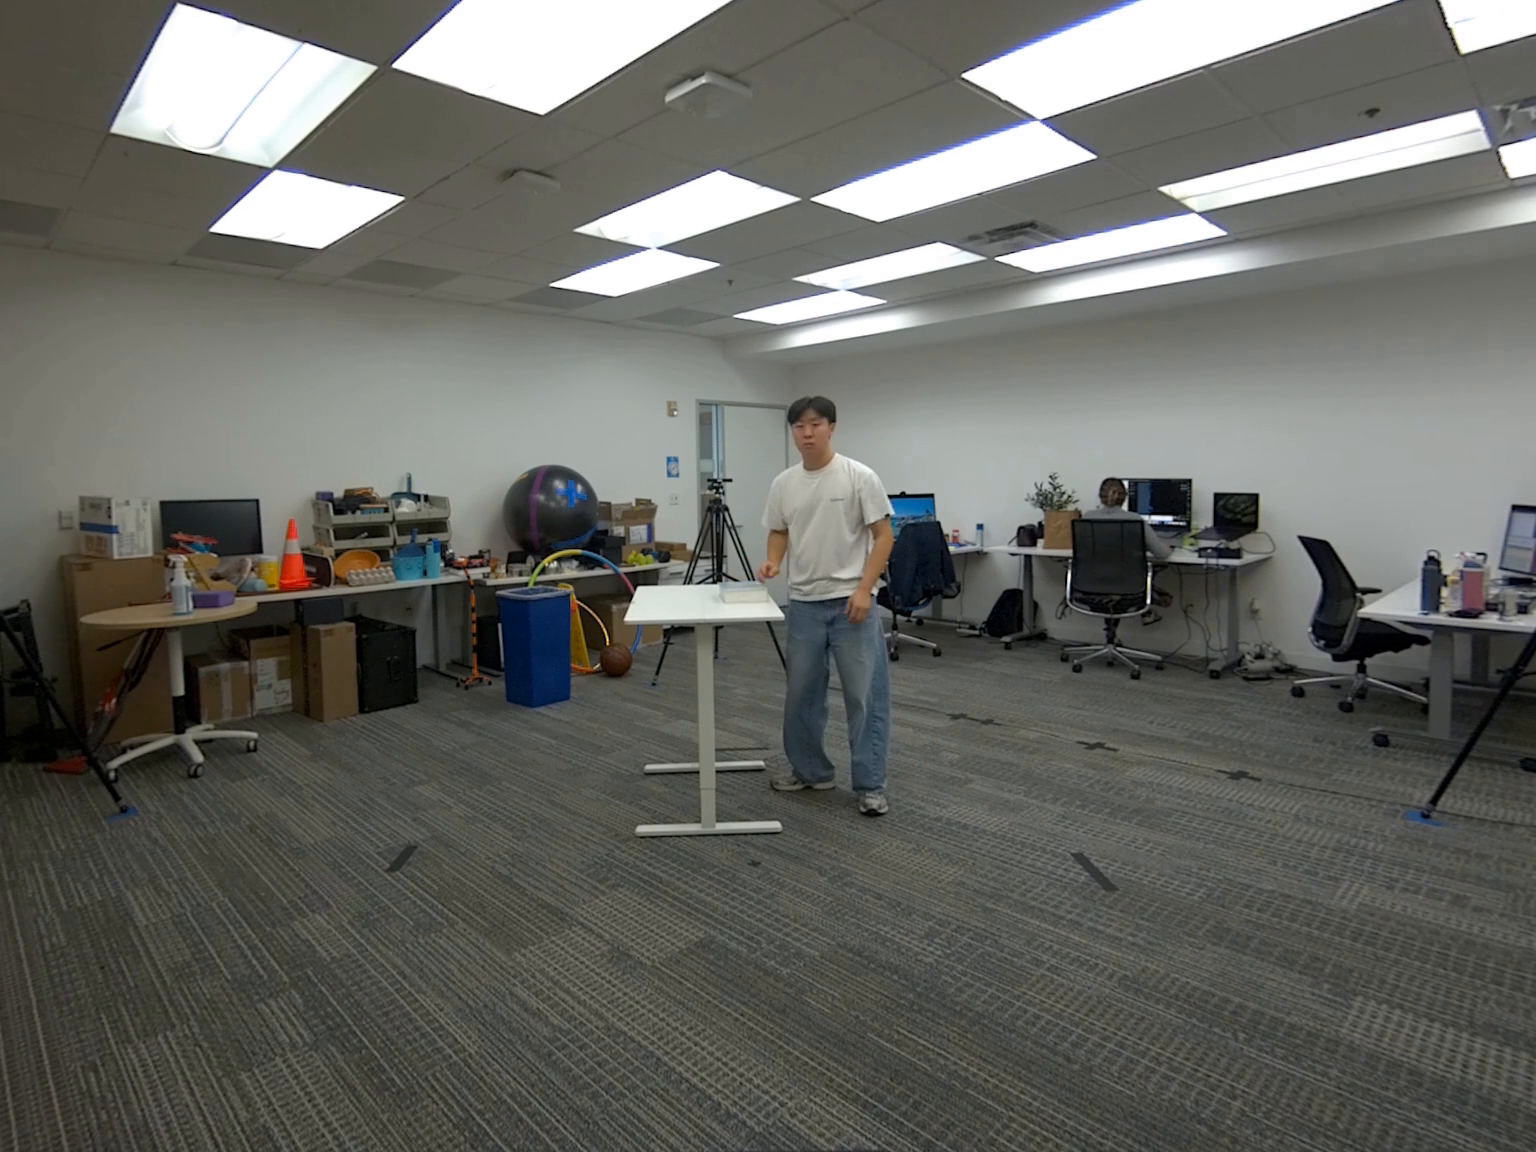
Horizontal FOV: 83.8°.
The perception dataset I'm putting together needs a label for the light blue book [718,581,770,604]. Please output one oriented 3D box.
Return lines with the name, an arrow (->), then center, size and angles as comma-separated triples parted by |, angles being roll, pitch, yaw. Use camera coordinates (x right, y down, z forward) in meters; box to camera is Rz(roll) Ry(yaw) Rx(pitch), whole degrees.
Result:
light blue book -> -0.104, 0.065, 3.720 | 0.190, 0.059, 0.264 | -2, 7, -8
